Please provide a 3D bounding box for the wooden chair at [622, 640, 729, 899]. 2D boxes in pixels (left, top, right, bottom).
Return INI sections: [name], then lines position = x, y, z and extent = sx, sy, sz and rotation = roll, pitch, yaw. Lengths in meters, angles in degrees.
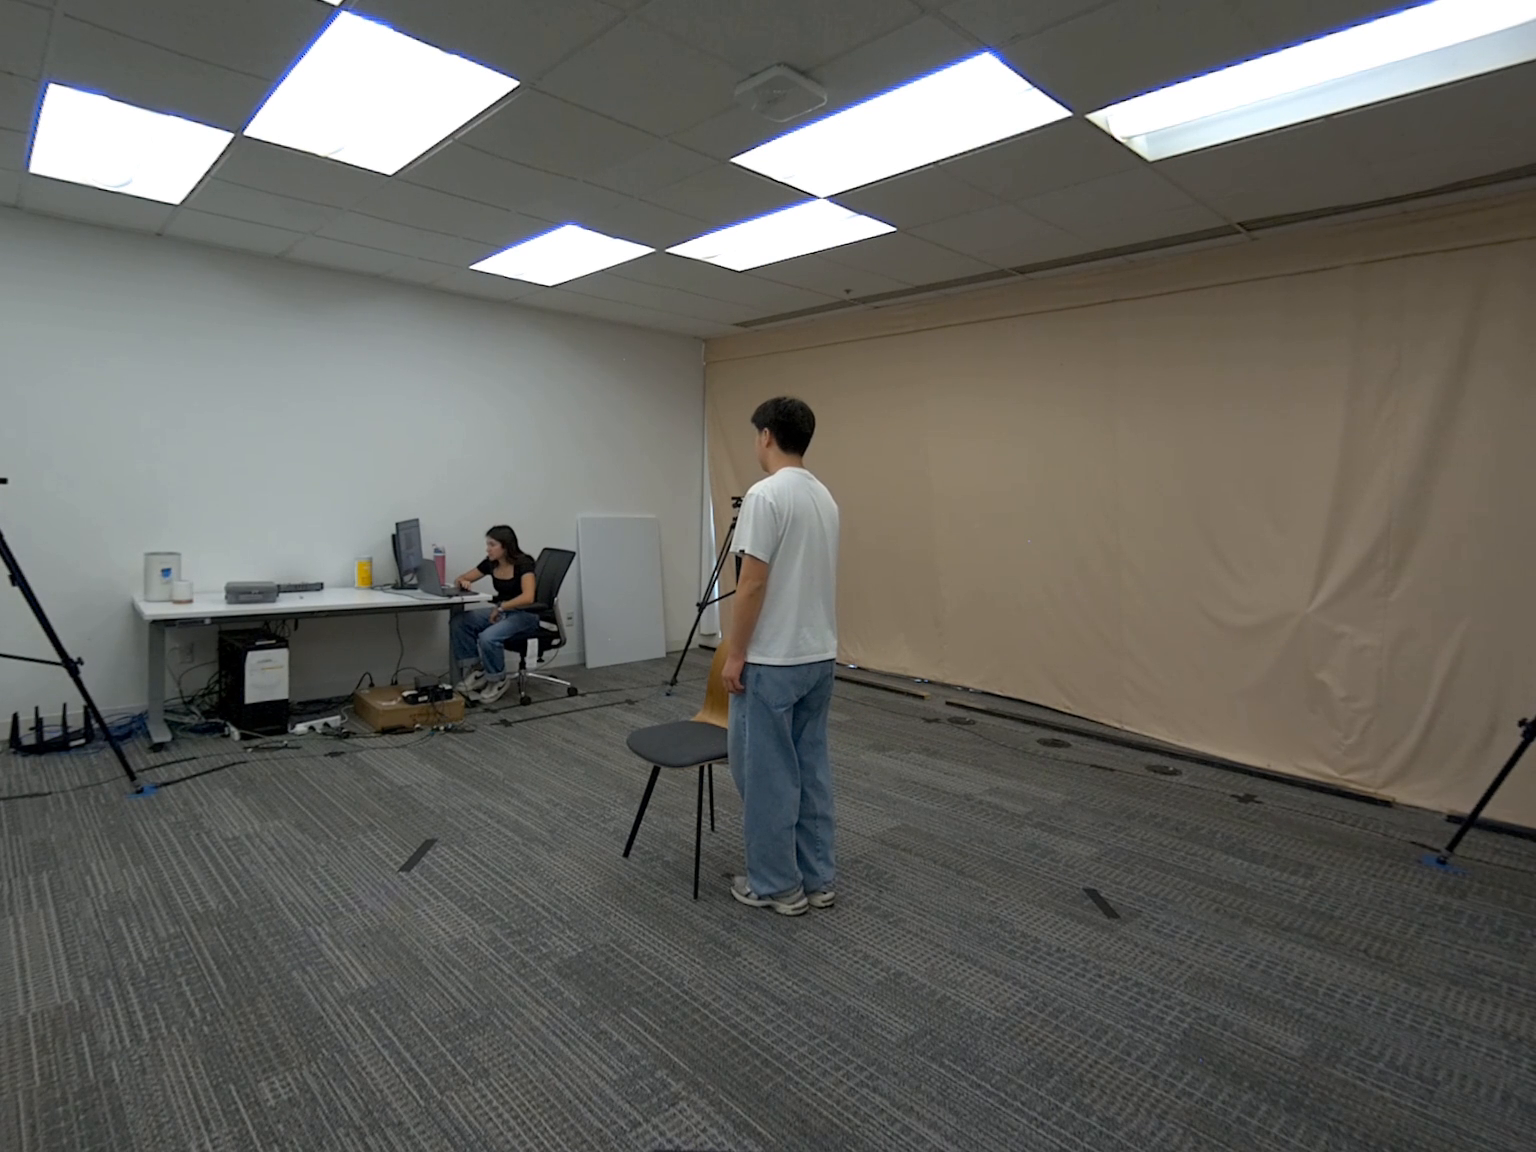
[wooden chair]
position = -0.246, 0.668, 3.193
extent = 0.510, 0.877, 0.490
rotation = 4, 1, -42
